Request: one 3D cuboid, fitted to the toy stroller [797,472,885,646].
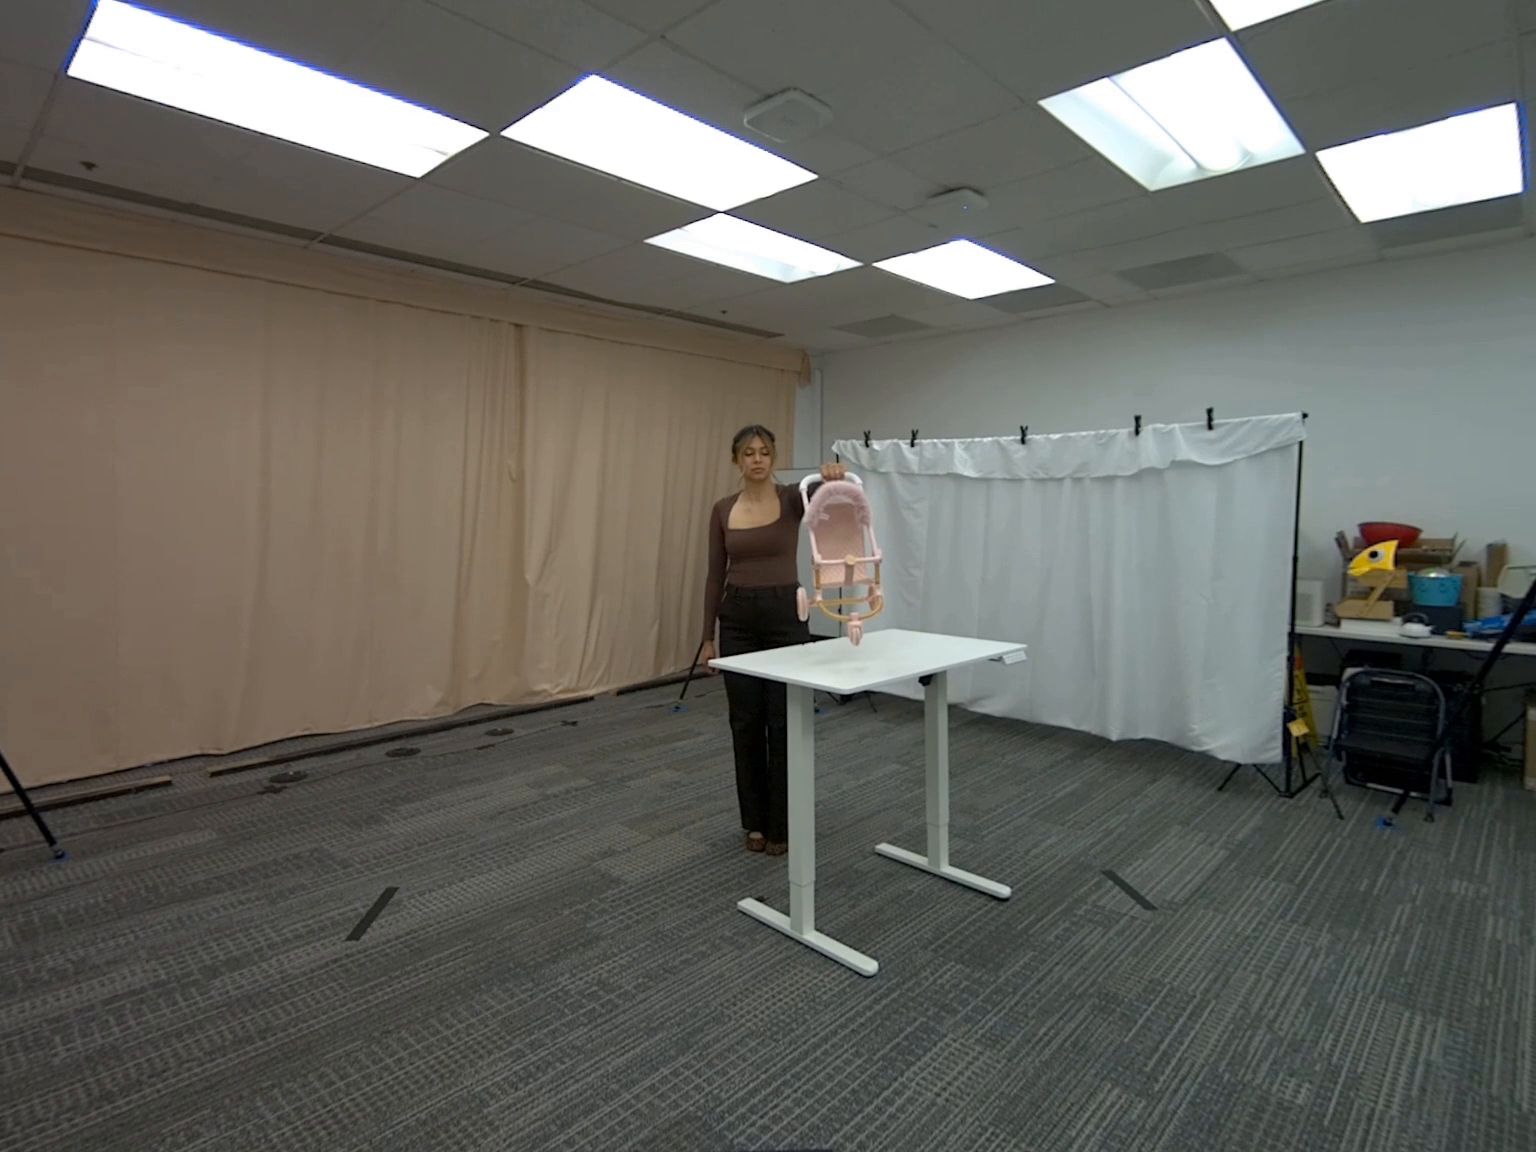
[{"bbox_3d":[0.243,-0.060,2.663,0.282,0.533,0.342,-4,4,0],"label":"toy stroller"}]
